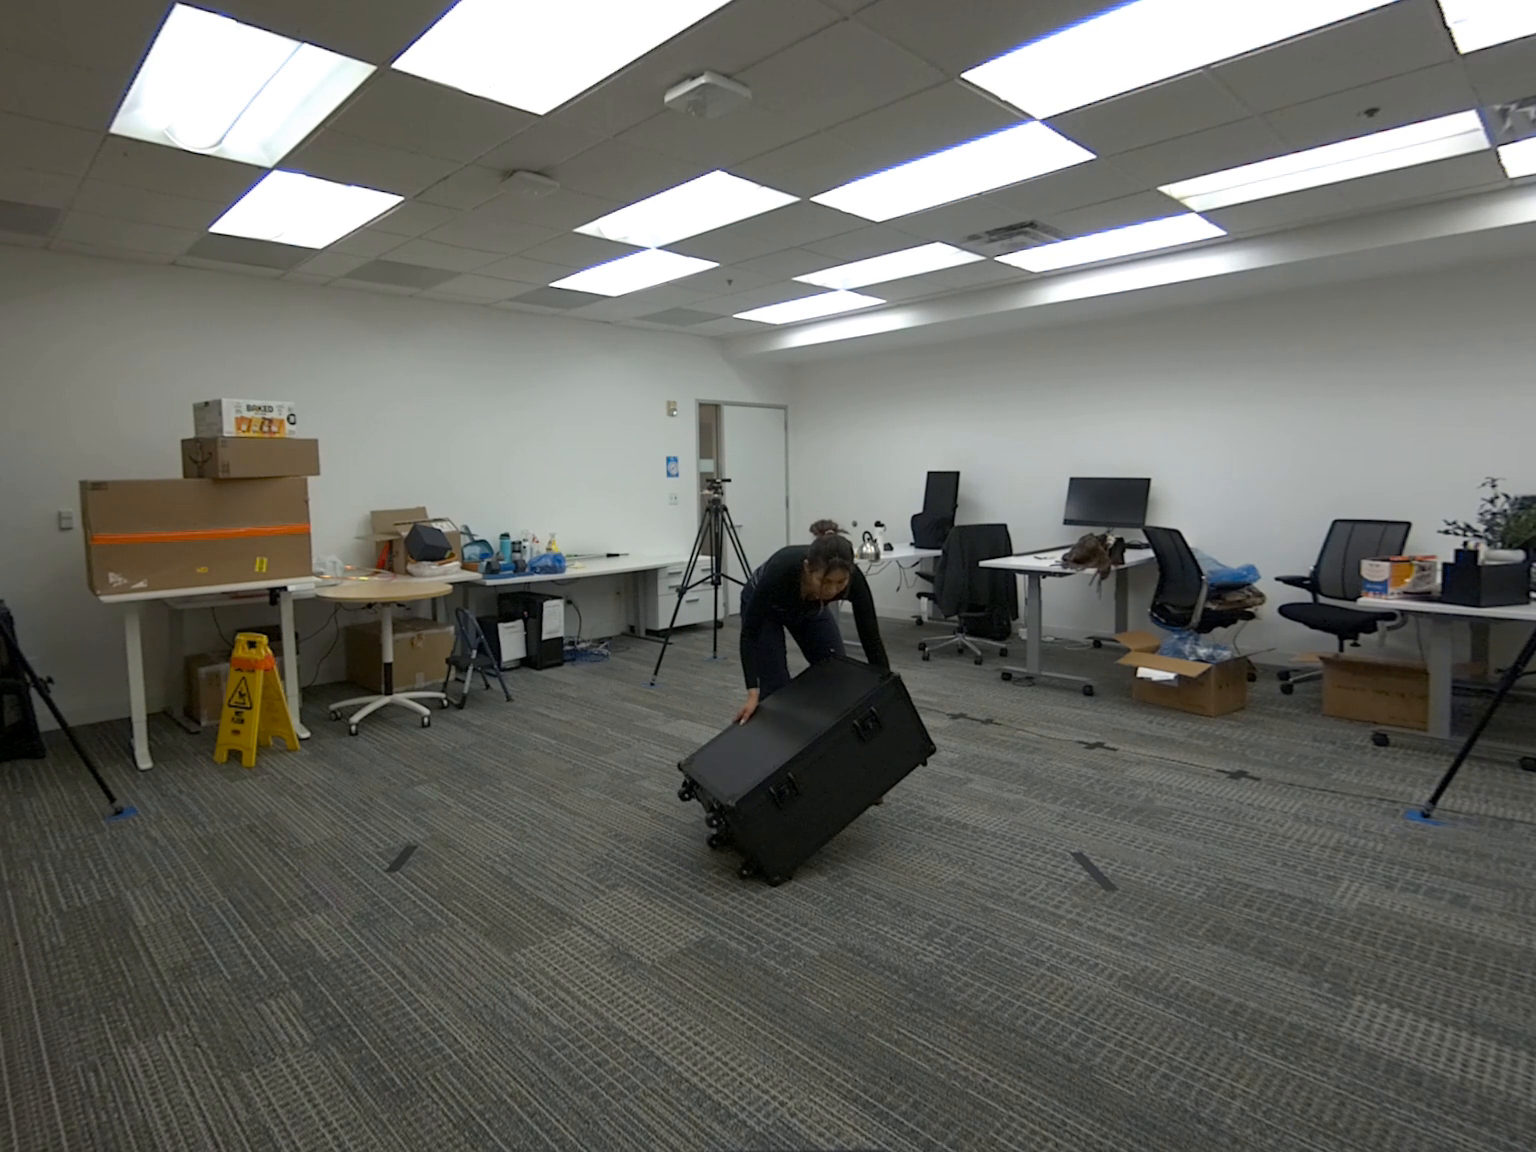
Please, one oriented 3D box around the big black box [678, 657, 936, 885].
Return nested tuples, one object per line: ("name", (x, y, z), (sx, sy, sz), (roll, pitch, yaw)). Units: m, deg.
("big black box", (0.168, 0.678, 3.218), (0.857, 0.388, 0.534), (-35, 18, -18))
